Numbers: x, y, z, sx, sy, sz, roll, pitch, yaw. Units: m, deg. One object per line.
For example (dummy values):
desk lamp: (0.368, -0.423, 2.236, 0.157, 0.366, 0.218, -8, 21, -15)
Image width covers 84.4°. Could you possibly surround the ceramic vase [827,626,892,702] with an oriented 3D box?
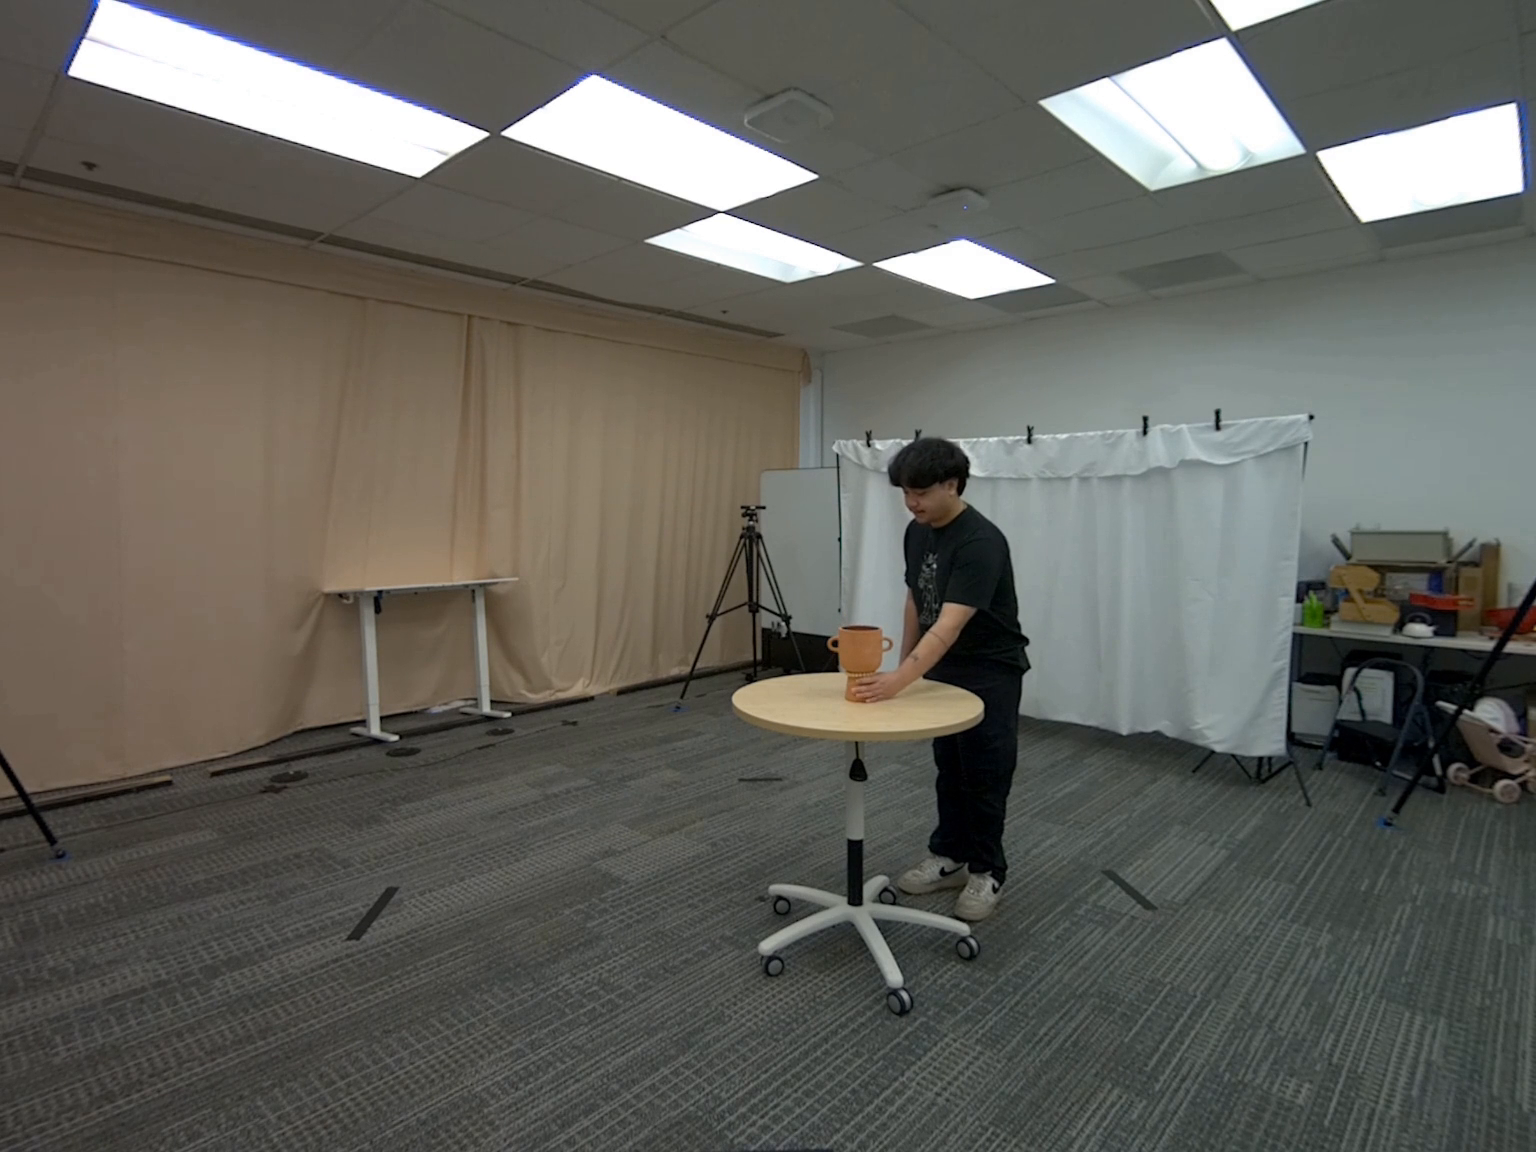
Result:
ceramic vase: (0.295, 0.274, 2.604, 0.164, 0.219, 0.130, 2, 4, 42)
